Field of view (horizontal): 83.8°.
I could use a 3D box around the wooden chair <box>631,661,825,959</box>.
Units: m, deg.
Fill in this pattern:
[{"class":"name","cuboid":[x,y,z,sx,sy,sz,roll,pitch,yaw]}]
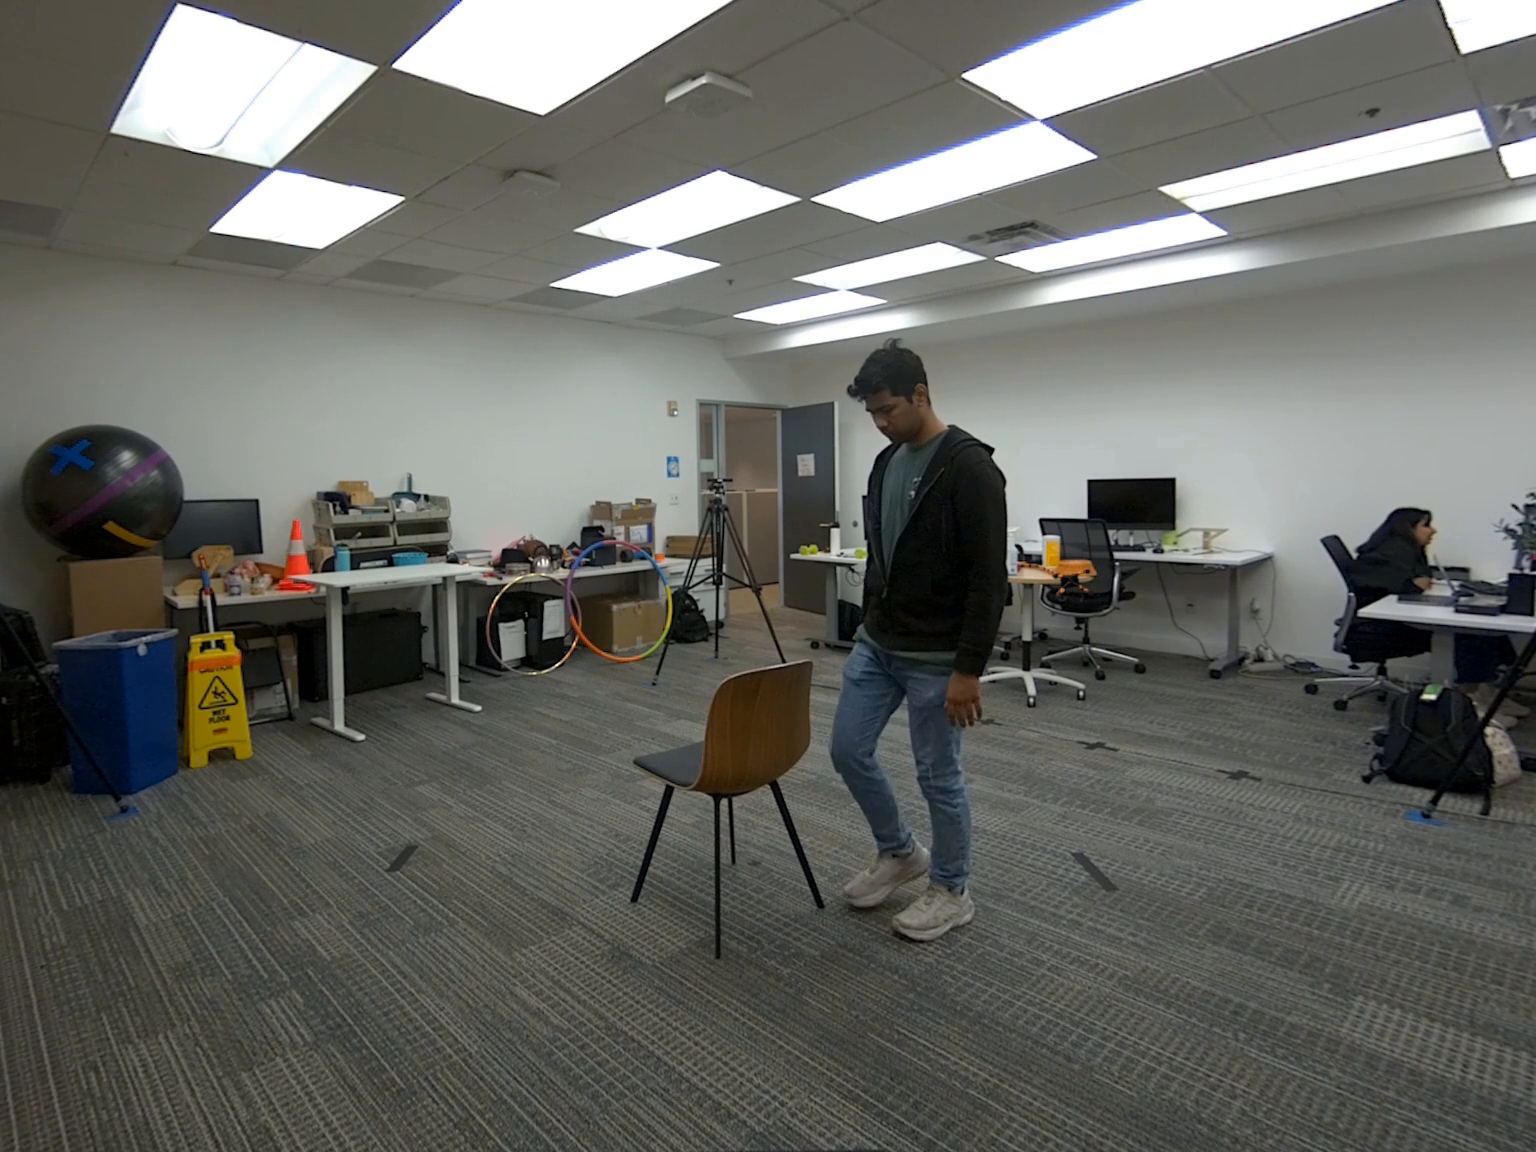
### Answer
[{"class":"wooden chair","cuboid":[-0.144,0.659,2.778,0.466,0.871,0.541,-5,11,-41]}]
